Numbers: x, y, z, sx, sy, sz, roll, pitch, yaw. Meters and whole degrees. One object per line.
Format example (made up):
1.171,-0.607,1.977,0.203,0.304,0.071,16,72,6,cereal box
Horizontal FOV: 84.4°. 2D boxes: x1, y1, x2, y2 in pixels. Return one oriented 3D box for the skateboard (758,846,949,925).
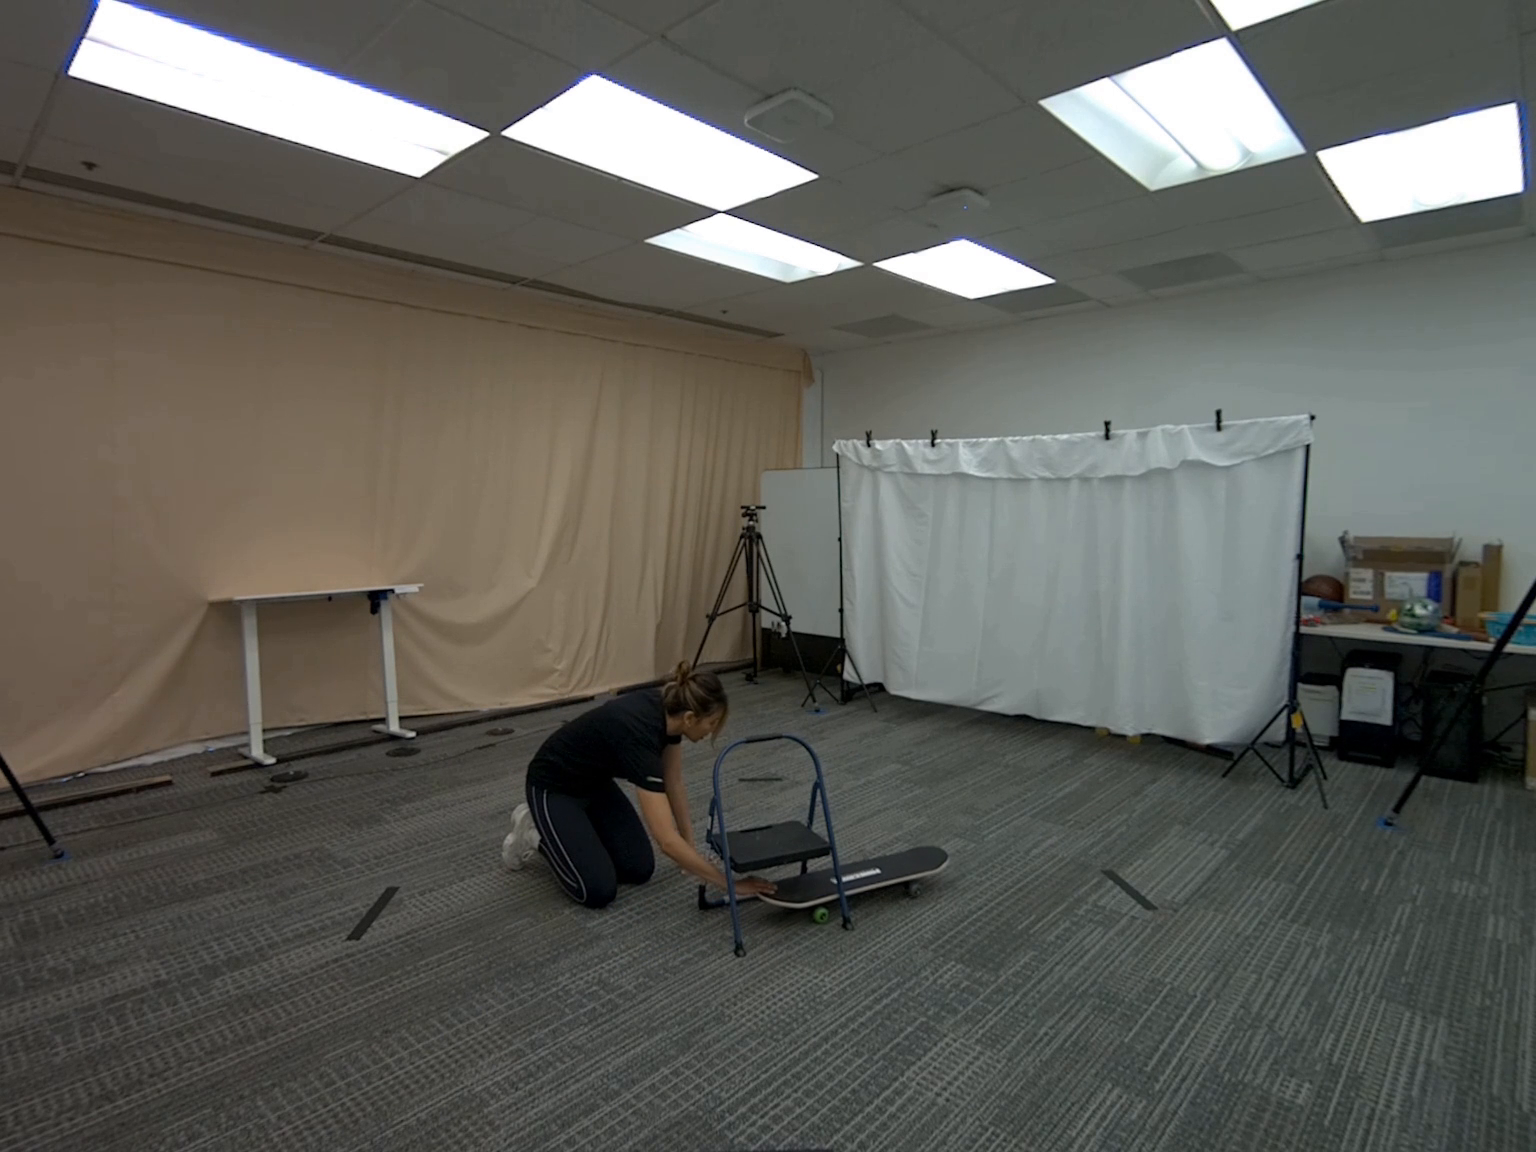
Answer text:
0.313,1.086,2.963,0.766,0.110,0.199,-3,5,-26,skateboard
